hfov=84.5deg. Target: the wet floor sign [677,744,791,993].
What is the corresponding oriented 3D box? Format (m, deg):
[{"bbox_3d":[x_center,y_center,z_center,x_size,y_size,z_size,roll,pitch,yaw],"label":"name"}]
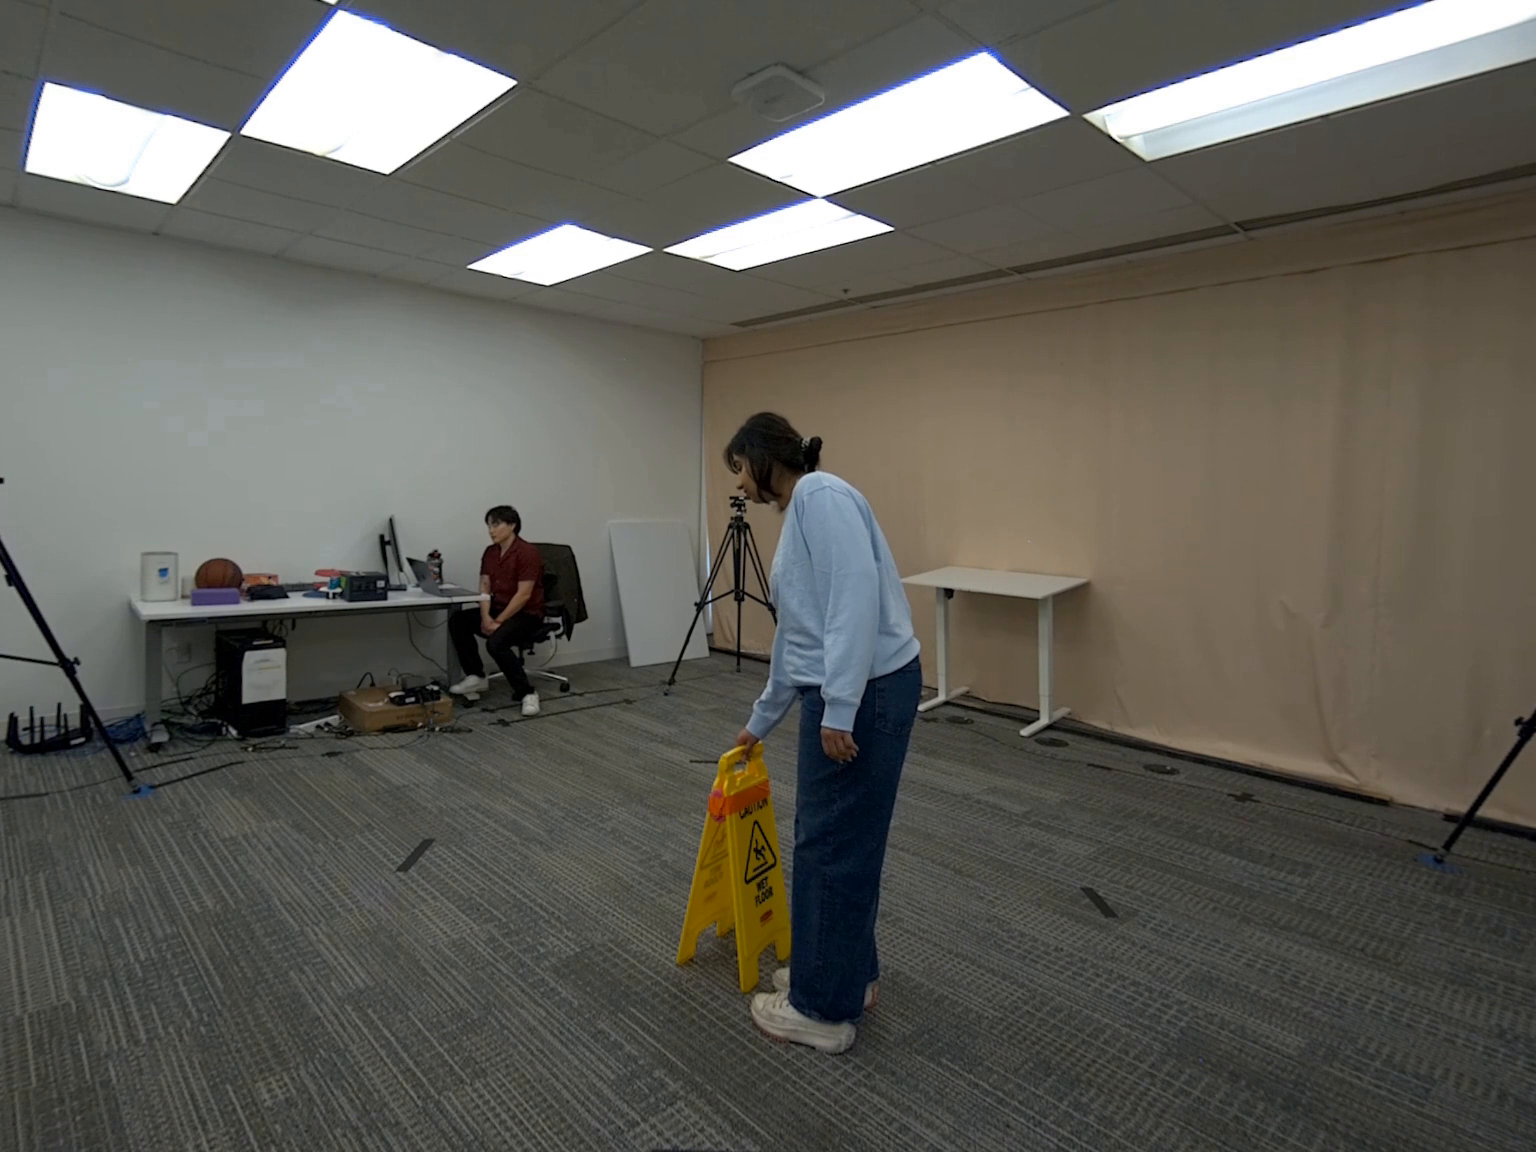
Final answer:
[{"bbox_3d":[-0.090,0.835,2.517,0.296,0.644,0.276,4,5,33],"label":"wet floor sign"}]
